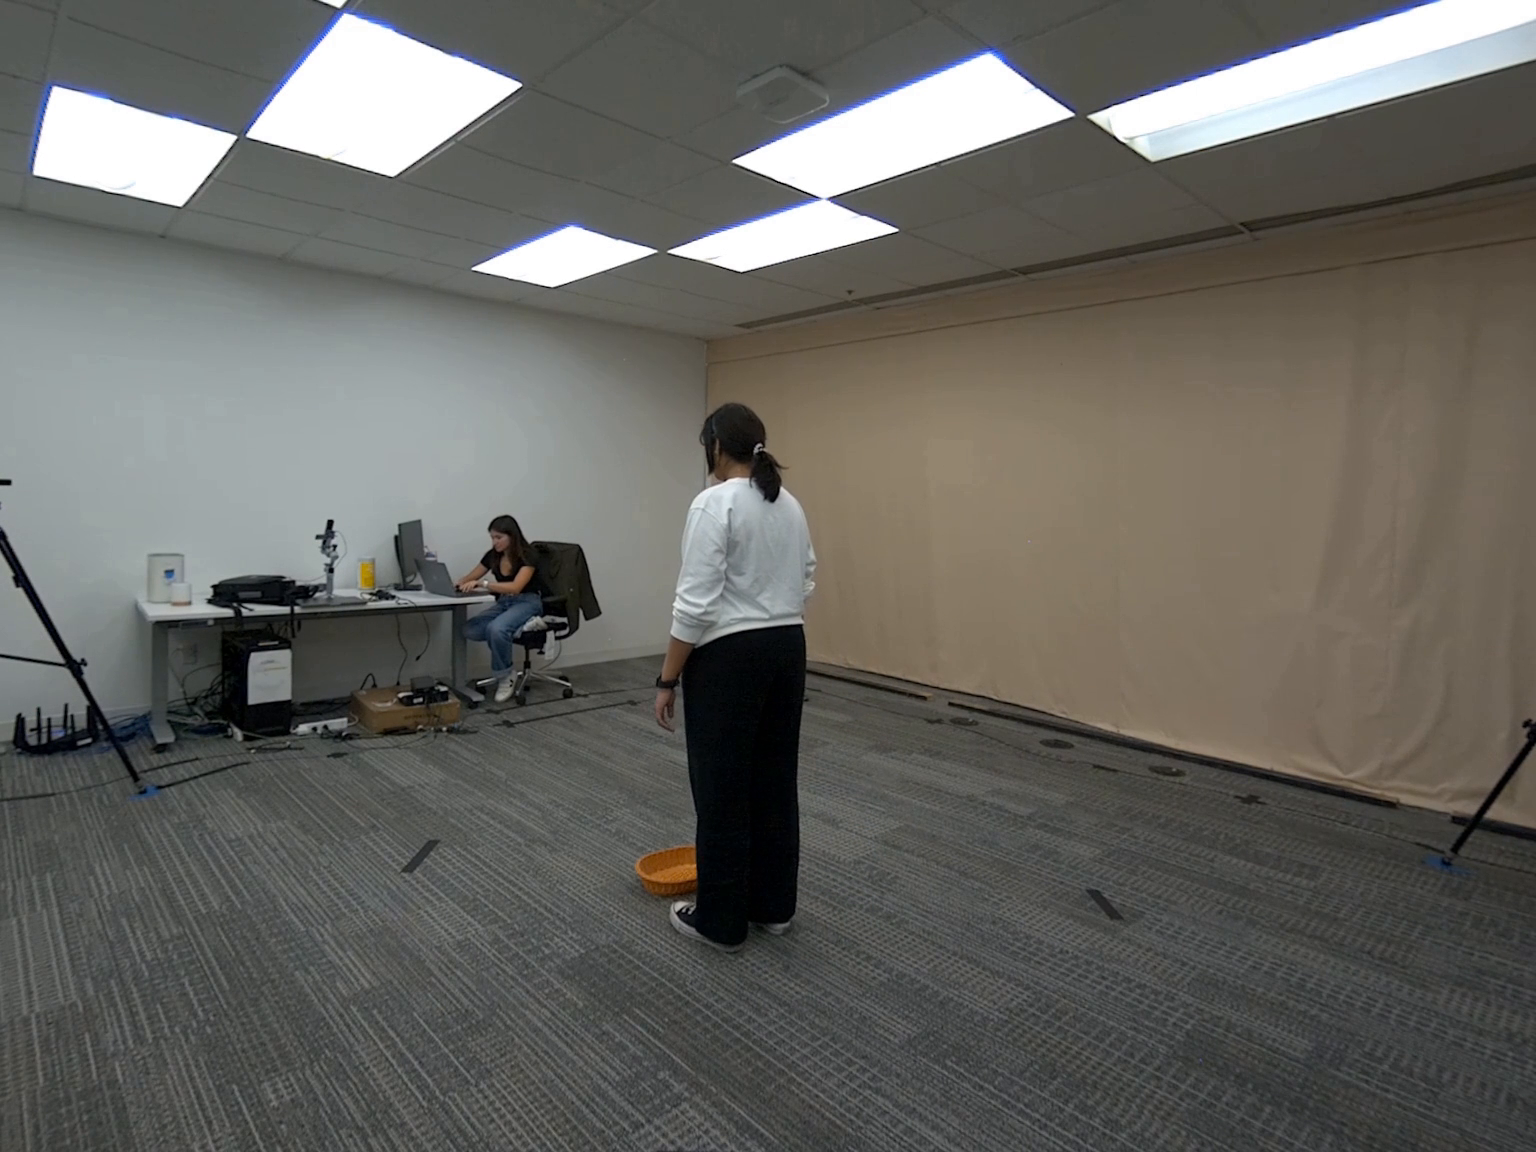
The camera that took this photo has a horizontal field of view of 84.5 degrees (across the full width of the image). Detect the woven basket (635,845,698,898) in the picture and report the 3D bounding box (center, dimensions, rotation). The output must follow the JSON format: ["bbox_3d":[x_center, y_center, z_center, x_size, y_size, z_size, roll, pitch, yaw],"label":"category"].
[{"bbox_3d":[-0.315,1.070,3.046,0.343,0.073,0.258,-2,7,-32],"label":"woven basket"}]
